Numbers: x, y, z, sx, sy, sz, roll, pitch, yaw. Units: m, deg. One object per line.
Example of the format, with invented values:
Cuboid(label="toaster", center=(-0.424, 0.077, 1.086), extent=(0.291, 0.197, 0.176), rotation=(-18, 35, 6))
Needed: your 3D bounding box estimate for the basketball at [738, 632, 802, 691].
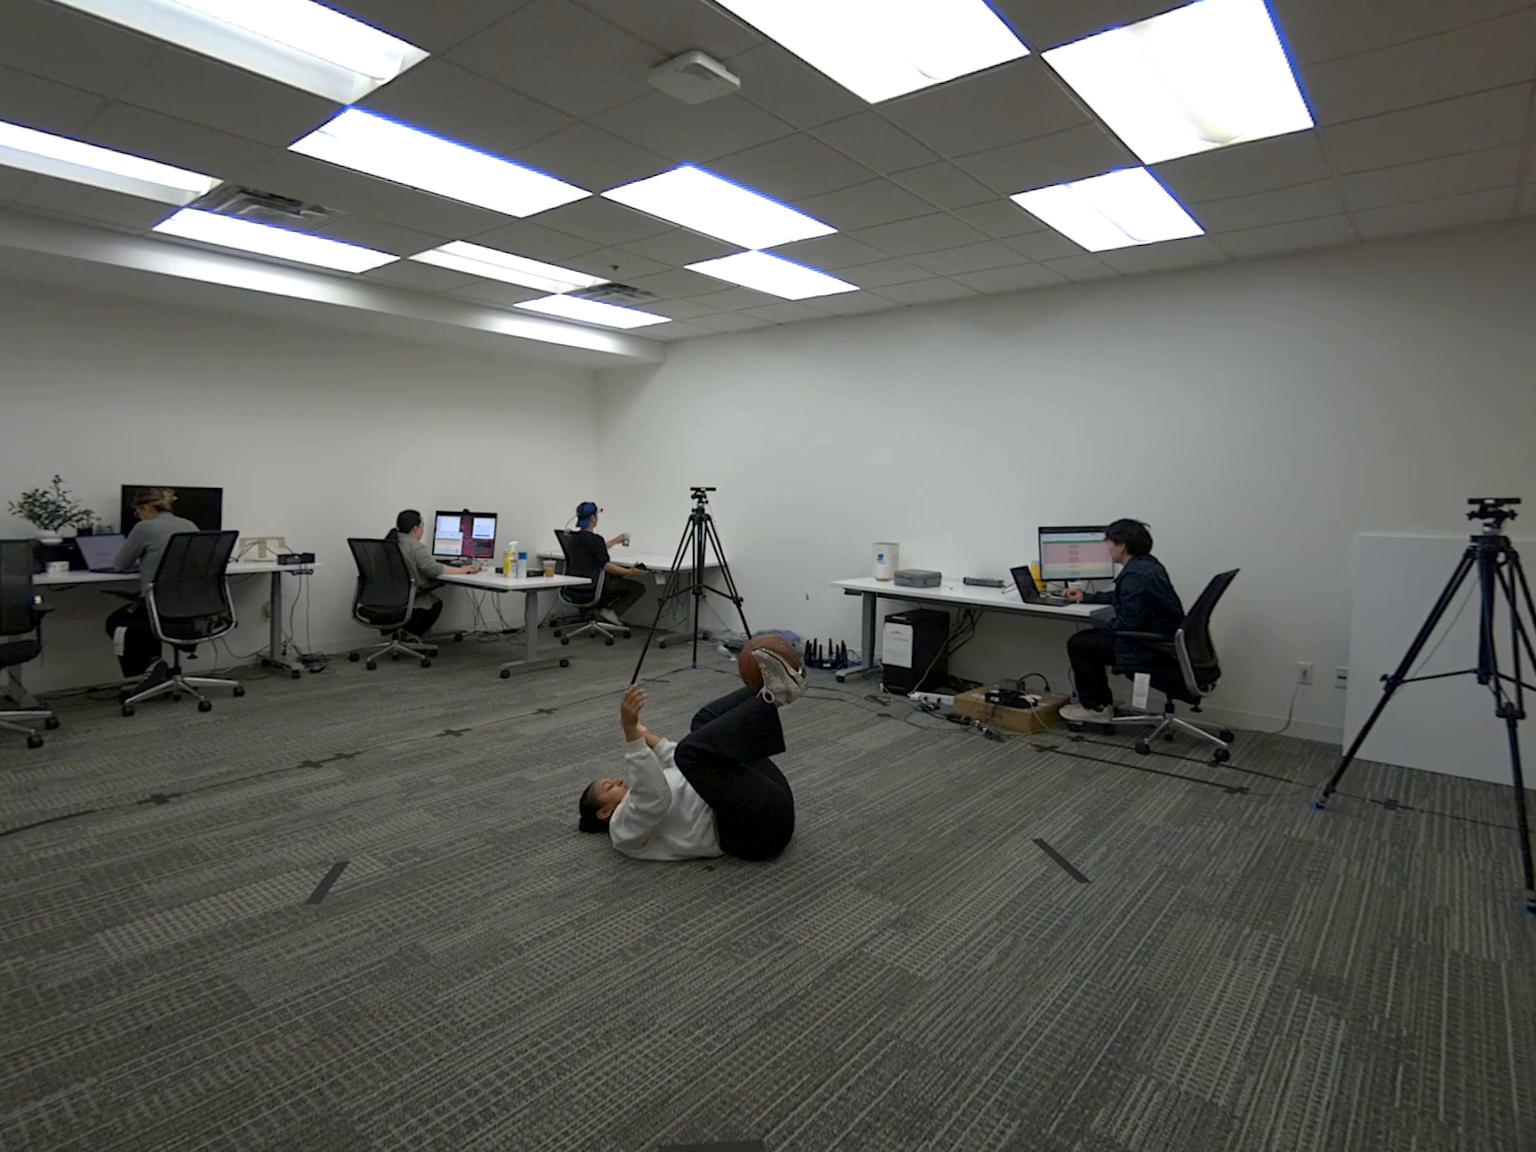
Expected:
Cuboid(label="basketball", center=(-0.008, 0.336, 3.302), extent=(0.236, 0.234, 0.238), rotation=(-2, 8, -2))
